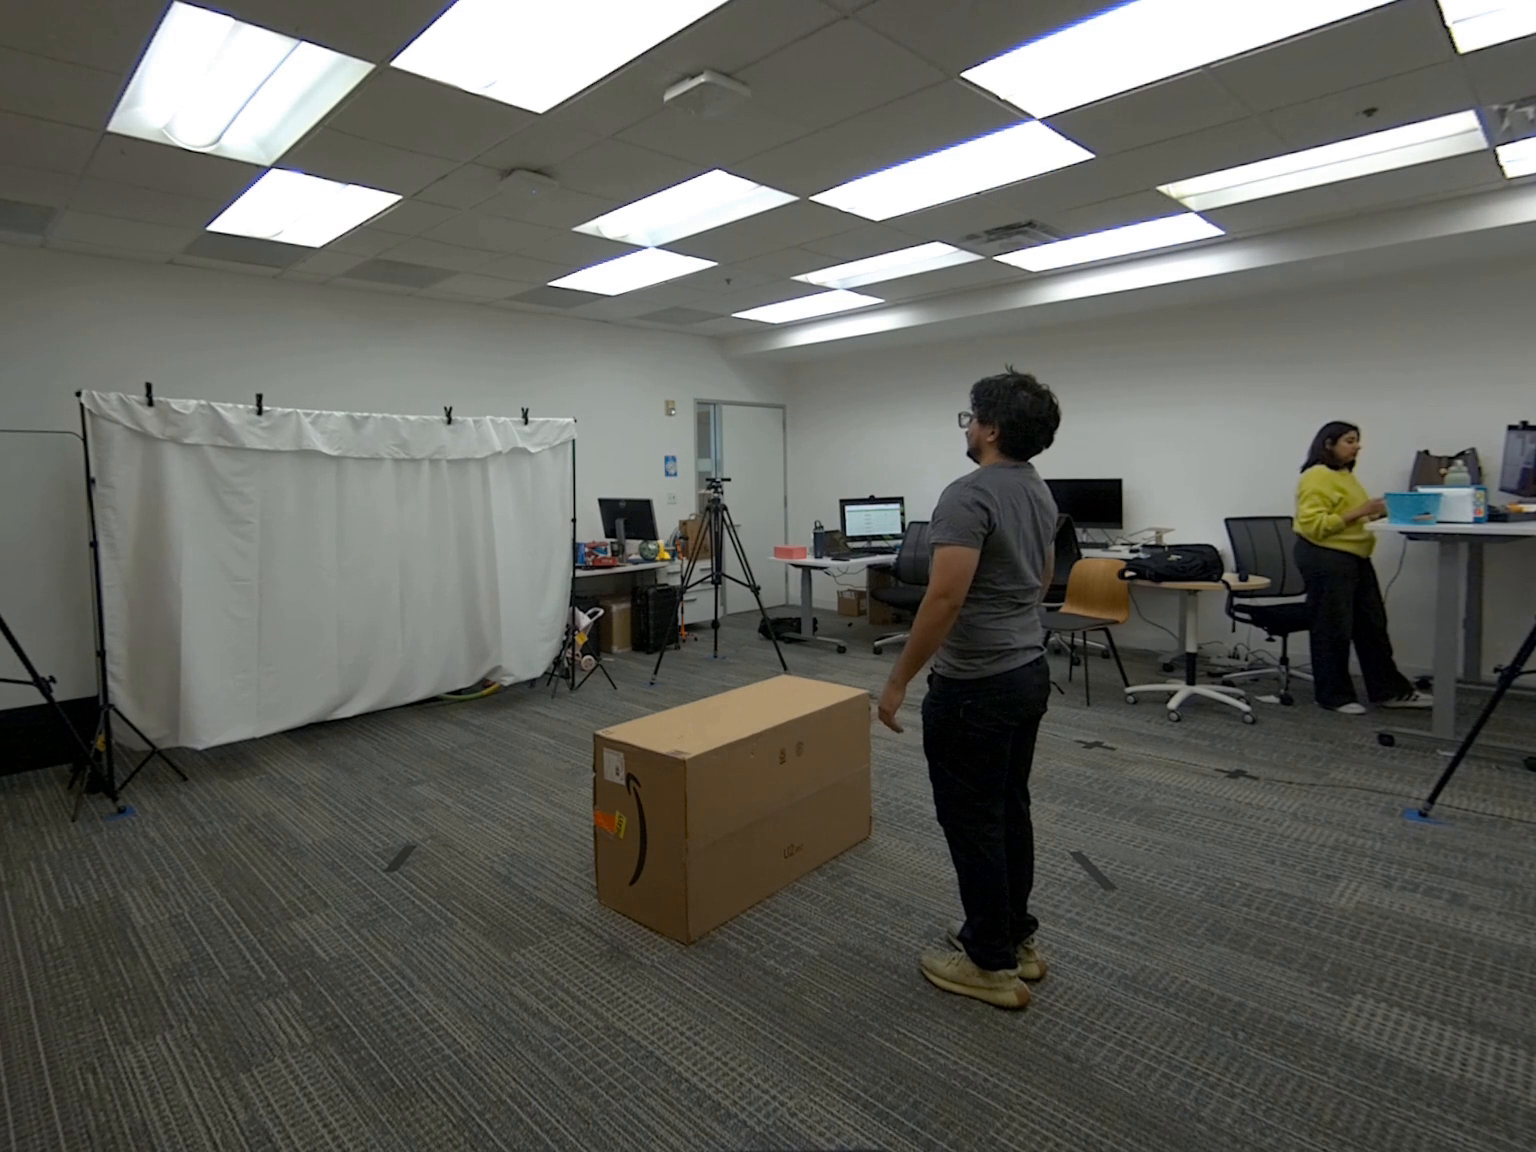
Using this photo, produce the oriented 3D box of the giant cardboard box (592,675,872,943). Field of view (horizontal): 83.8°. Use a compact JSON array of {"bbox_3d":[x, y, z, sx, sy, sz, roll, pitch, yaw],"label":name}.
[{"bbox_3d":[-0.092,0.758,3.061,0.439,0.575,1.000,2,7,40],"label":"giant cardboard box"}]
